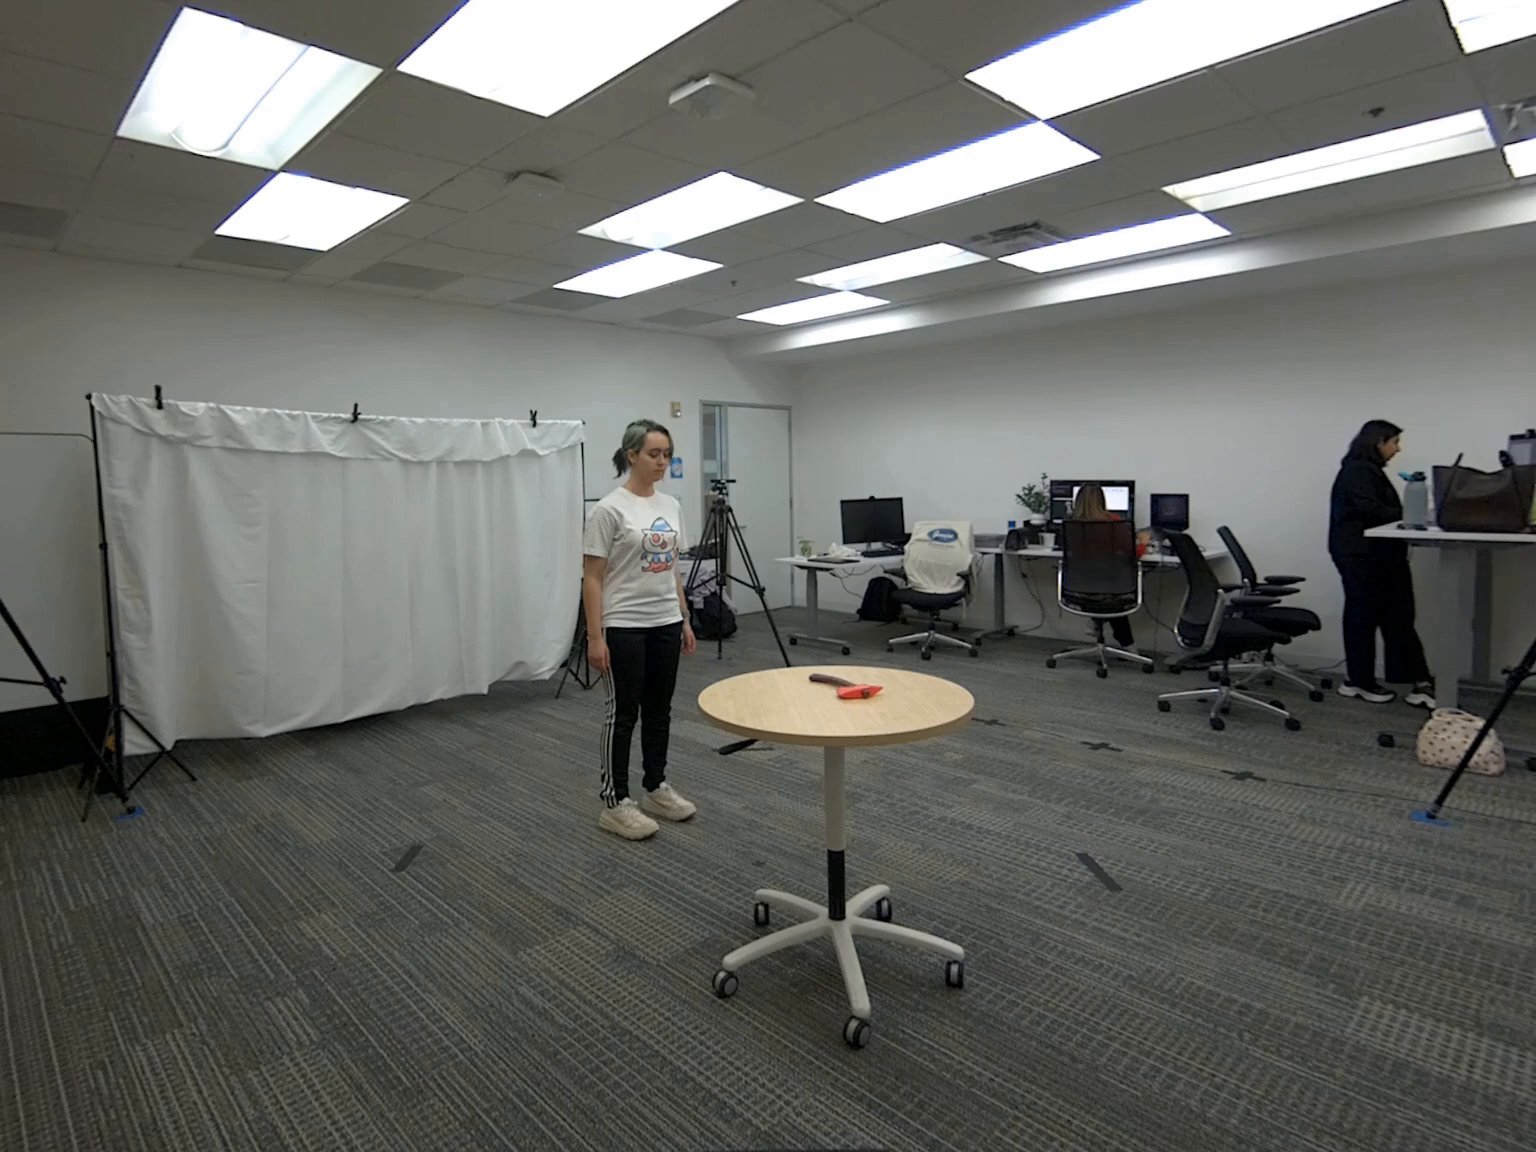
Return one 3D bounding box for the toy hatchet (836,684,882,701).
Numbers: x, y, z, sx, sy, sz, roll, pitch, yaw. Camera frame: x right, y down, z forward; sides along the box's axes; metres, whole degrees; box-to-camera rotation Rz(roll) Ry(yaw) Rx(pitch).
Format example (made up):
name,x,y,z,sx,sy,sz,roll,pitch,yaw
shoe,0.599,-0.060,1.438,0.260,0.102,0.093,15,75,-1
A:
name,x,y,z,sx,sy,sz,roll,pitch,yaw
toy hatchet,0.193,0.317,2.476,0.128,0.029,0.278,-13,10,-38
